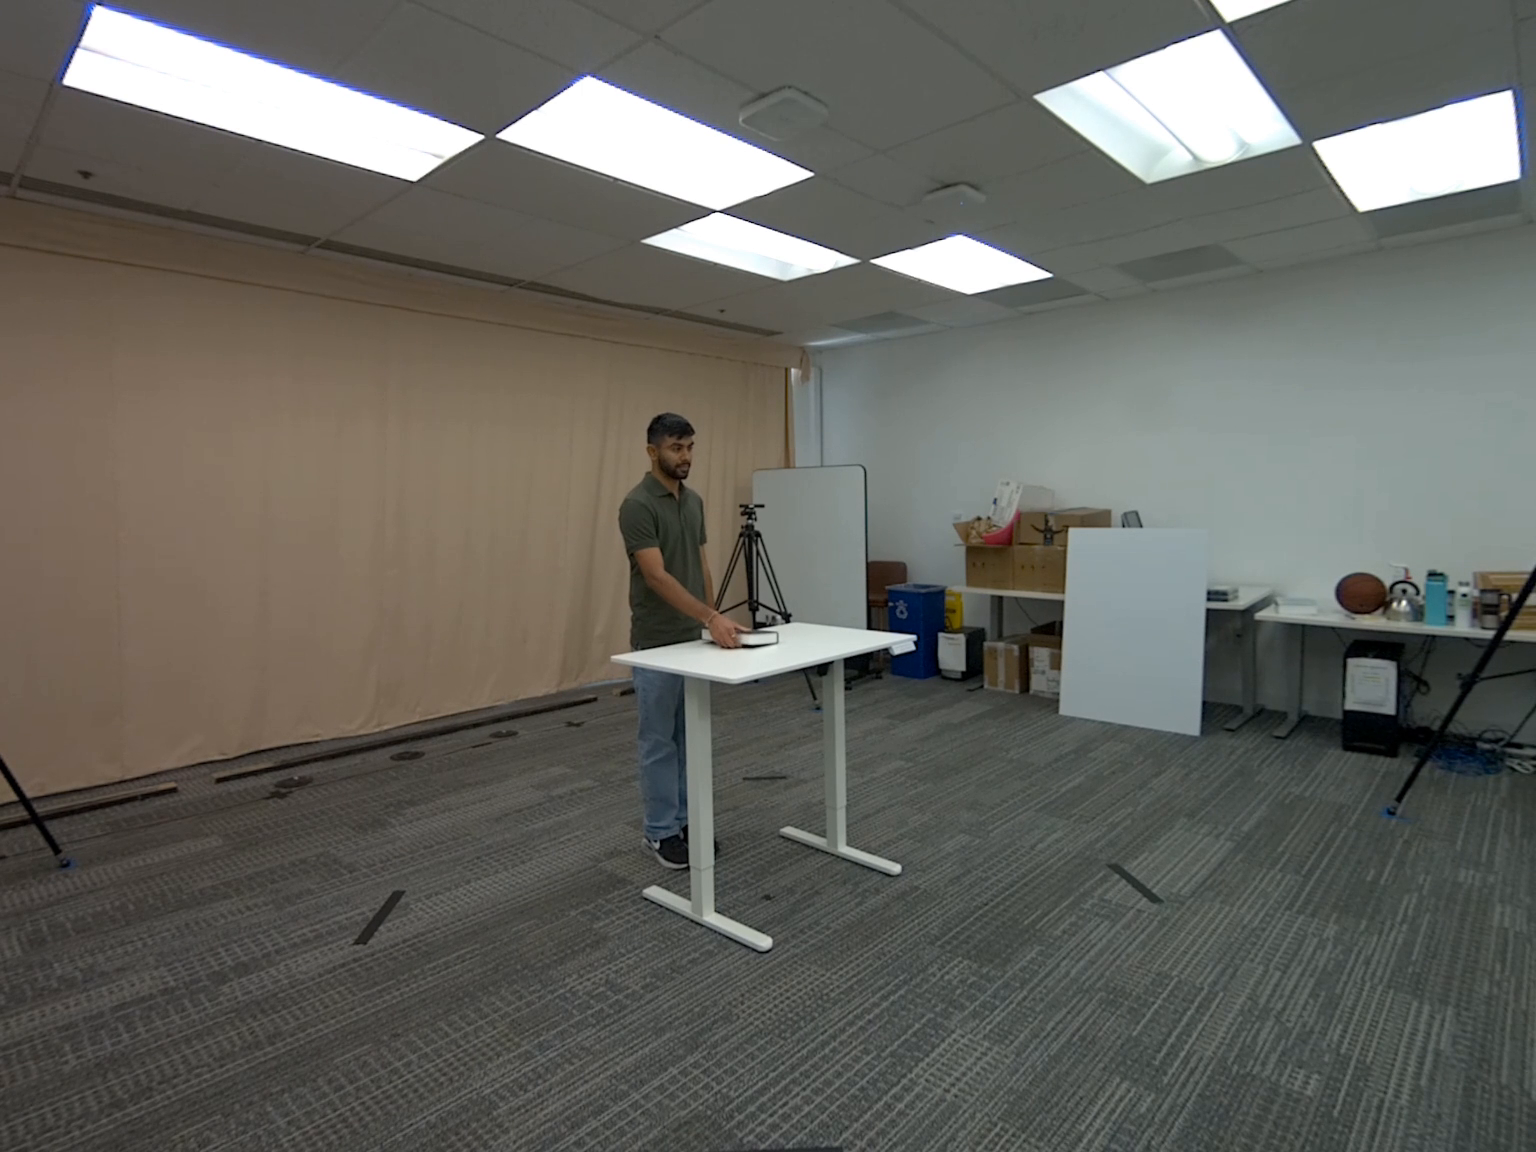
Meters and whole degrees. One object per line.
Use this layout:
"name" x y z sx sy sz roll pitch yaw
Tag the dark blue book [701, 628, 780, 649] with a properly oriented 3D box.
"dark blue book" -0.112 0.224 3.132 0.253 0.045 0.158 3 2 39
